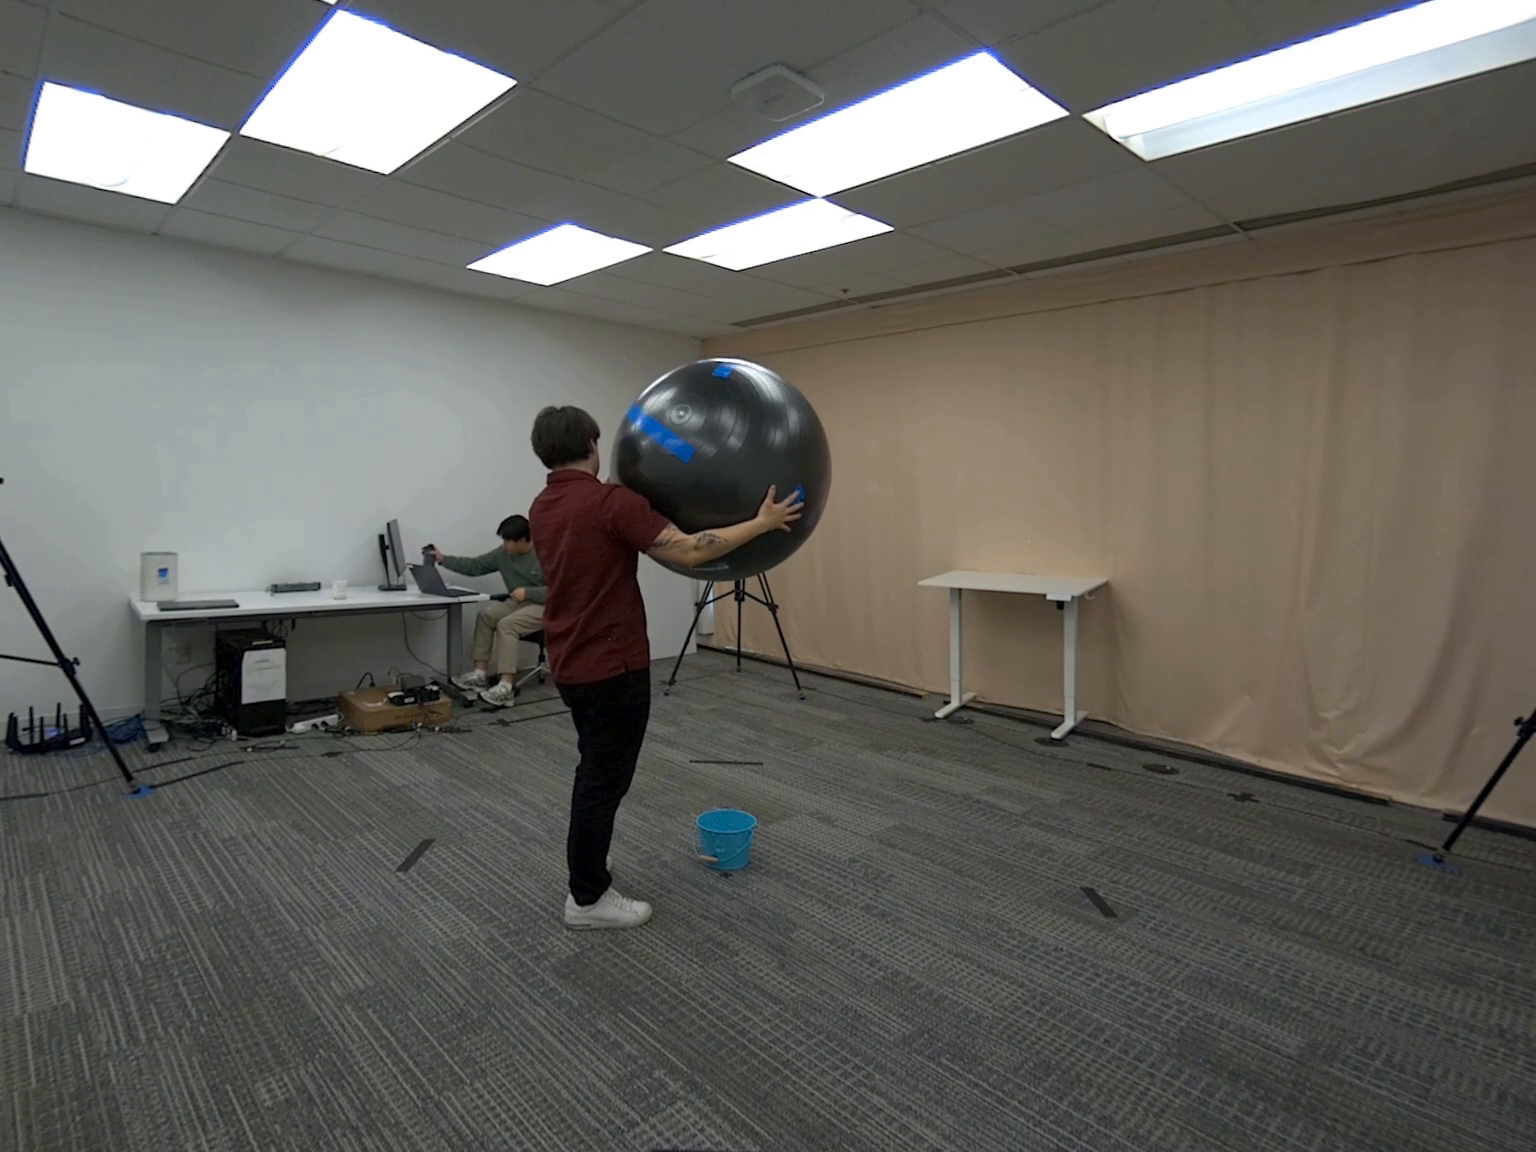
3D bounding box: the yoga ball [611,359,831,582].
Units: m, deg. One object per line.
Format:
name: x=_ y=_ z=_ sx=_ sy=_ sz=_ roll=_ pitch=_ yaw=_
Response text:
yoga ball: x=-0.159 y=-0.353 z=2.902 sx=0.757 sy=0.756 sz=0.761 roll=1 pitch=4 yaw=-1
